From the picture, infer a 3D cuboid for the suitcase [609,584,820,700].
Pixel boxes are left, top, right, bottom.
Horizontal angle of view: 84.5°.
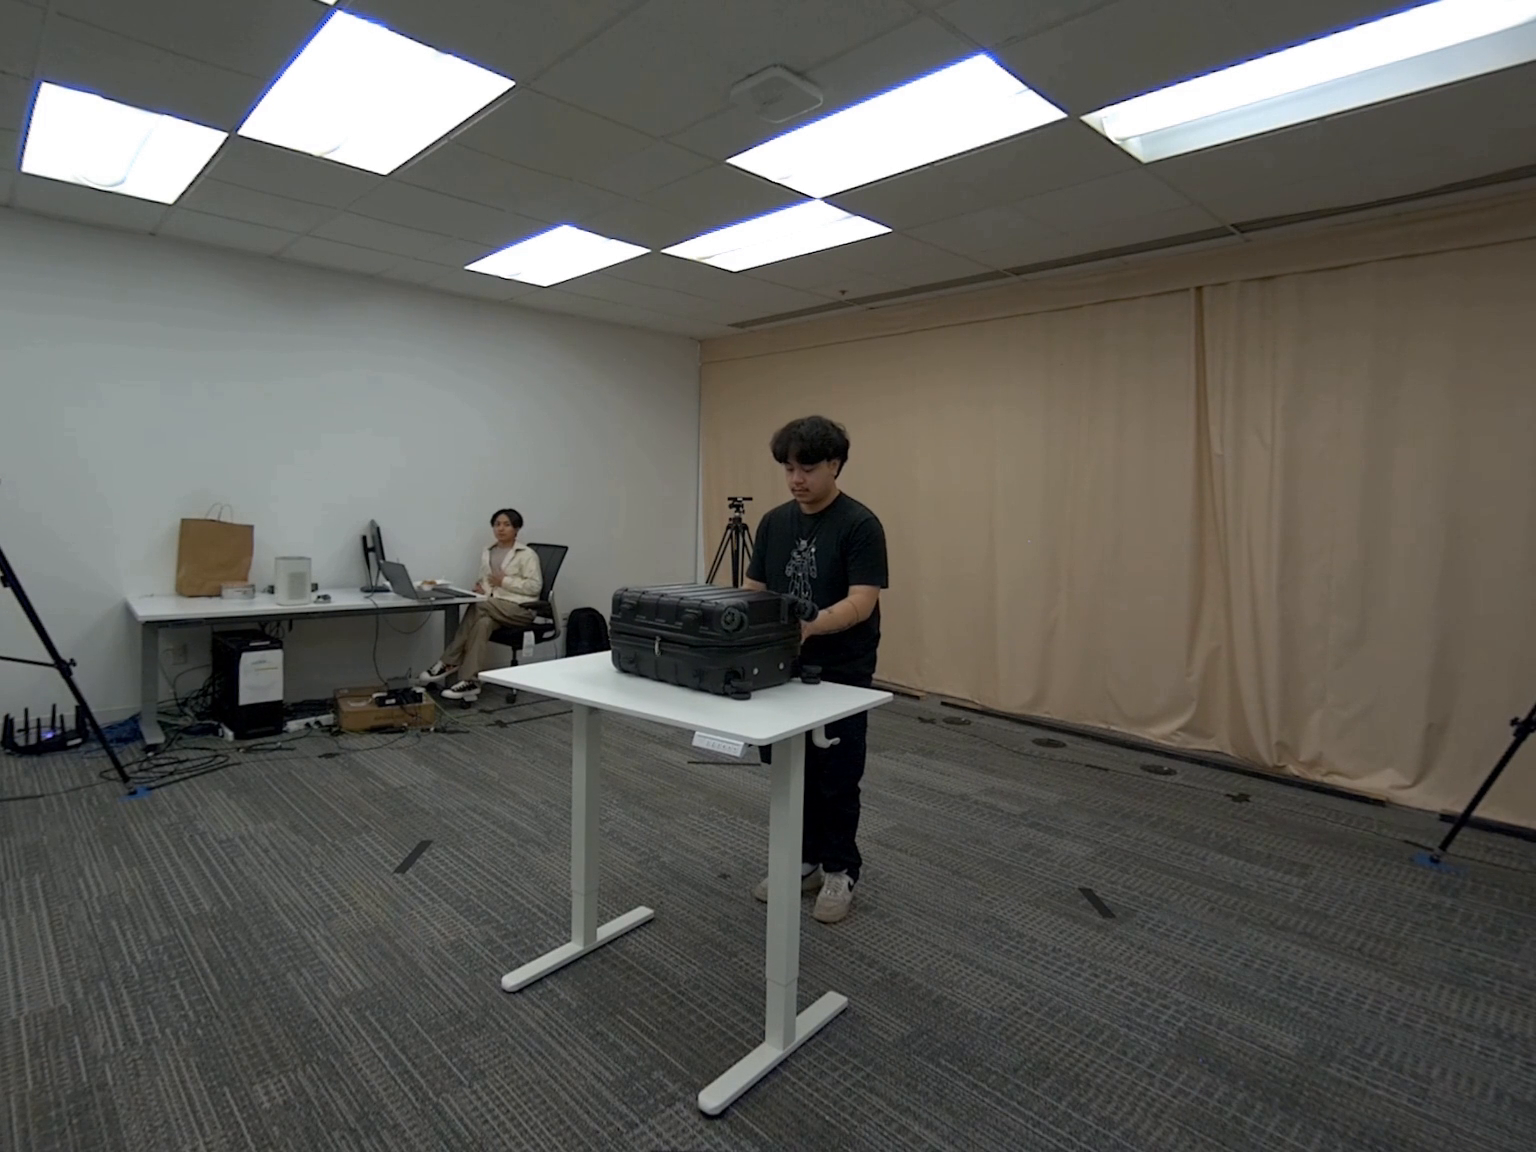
[{"bbox_3d":[-0.183,0.175,2.390,0.563,0.247,0.367,6,7,43],"label":"suitcase"}]
